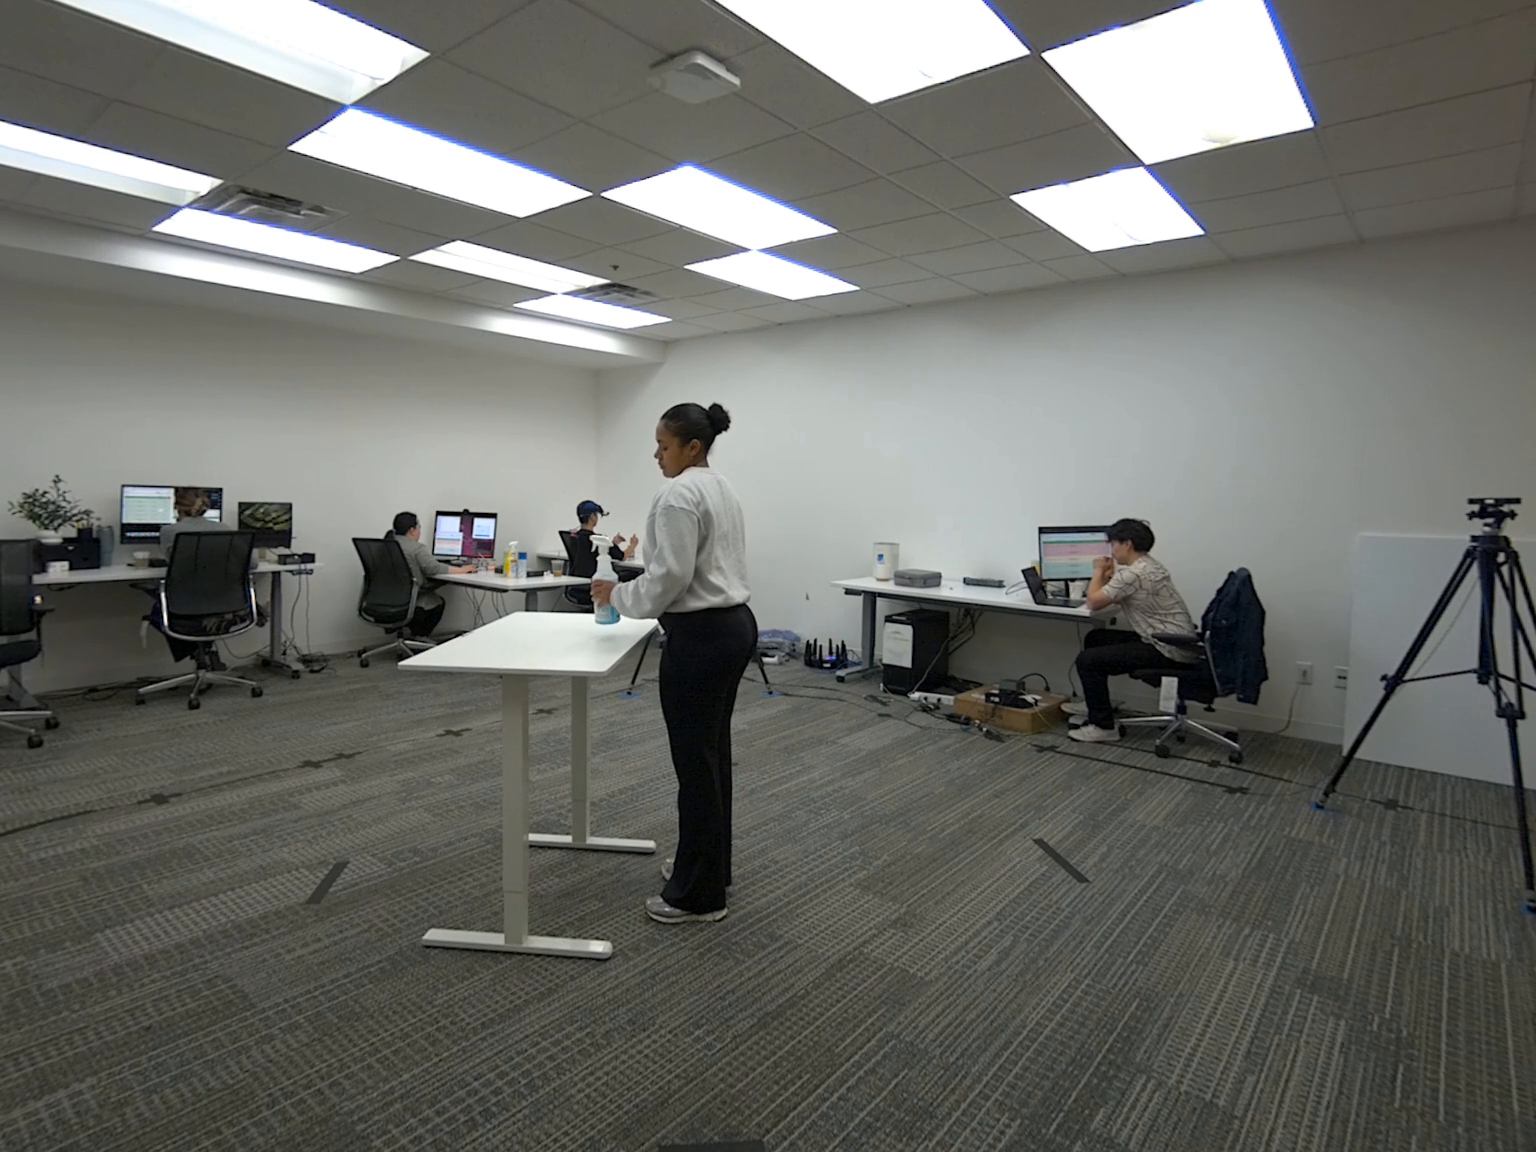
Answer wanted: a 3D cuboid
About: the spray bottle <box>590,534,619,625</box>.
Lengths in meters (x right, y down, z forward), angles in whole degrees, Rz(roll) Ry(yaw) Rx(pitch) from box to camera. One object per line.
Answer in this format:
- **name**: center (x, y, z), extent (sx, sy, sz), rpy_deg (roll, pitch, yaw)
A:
- **spray bottle**: center (-0.561, 0.018, 2.867), extent (0.085, 0.295, 0.093), rpy_deg (-7, 8, -38)
